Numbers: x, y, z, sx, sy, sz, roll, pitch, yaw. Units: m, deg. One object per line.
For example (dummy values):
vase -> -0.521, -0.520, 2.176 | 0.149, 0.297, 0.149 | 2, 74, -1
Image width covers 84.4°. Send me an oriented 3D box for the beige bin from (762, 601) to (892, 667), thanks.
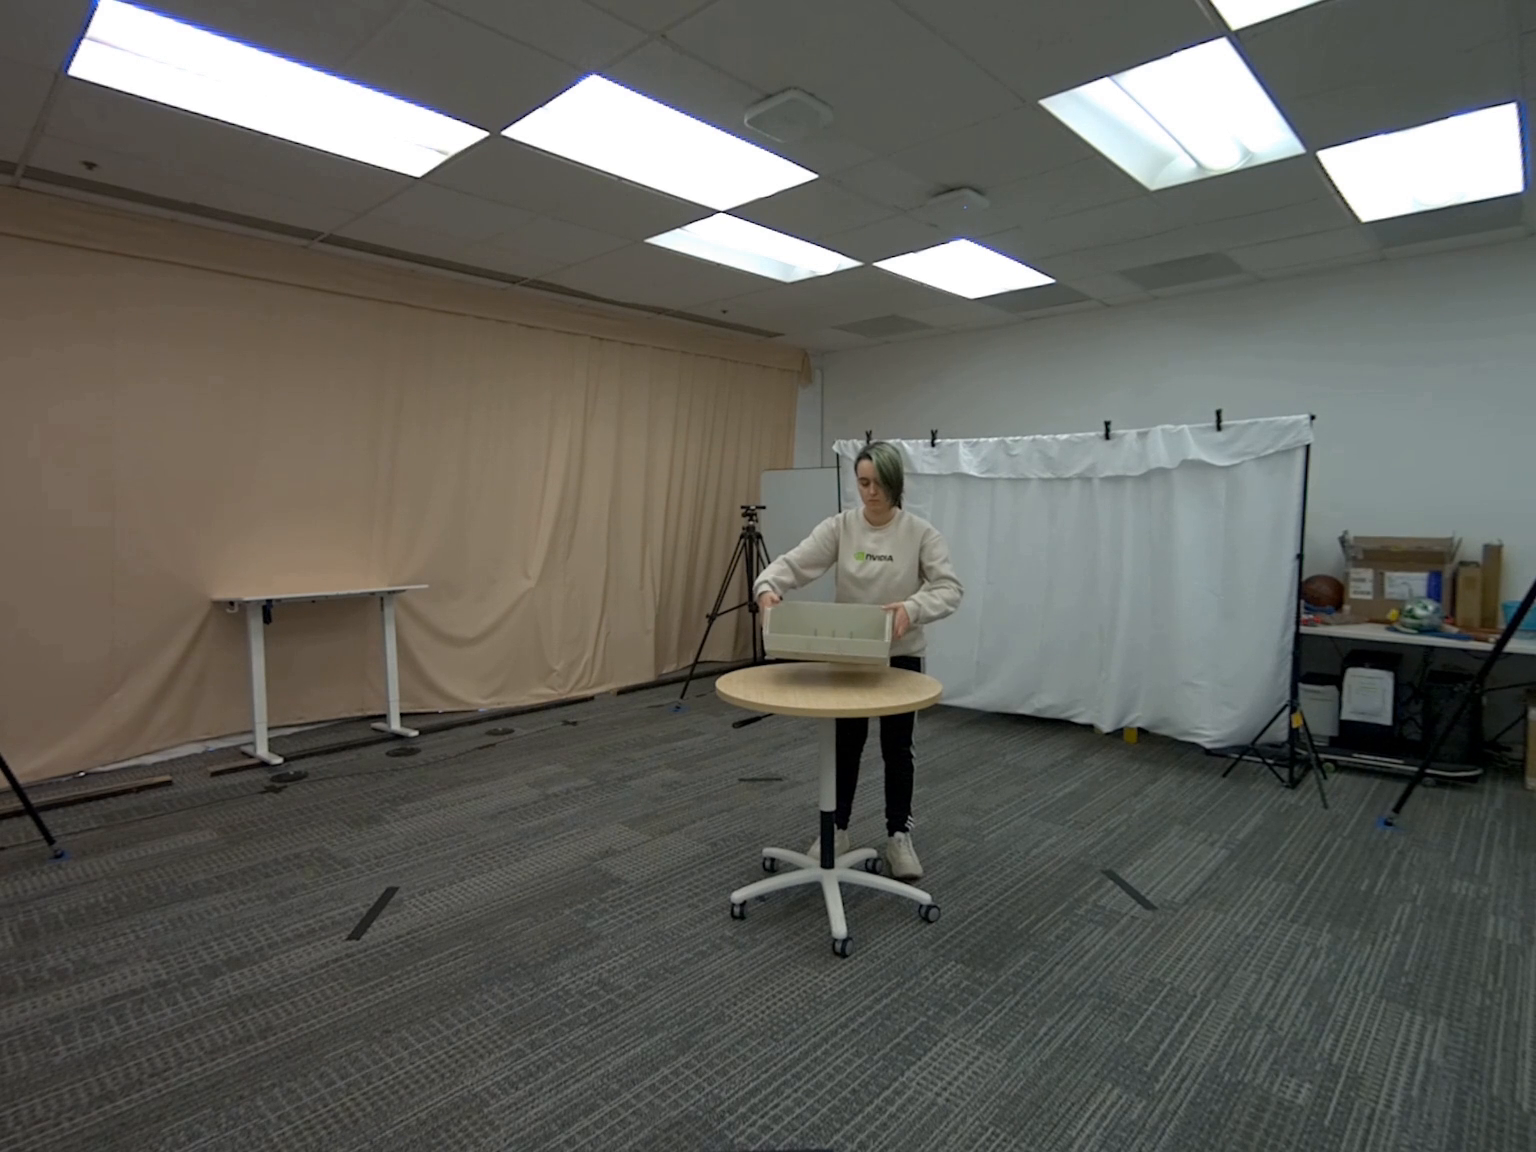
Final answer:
beige bin -> 0.220, 0.203, 2.927 | 0.427, 0.189, 0.374 | 2, 2, 8
